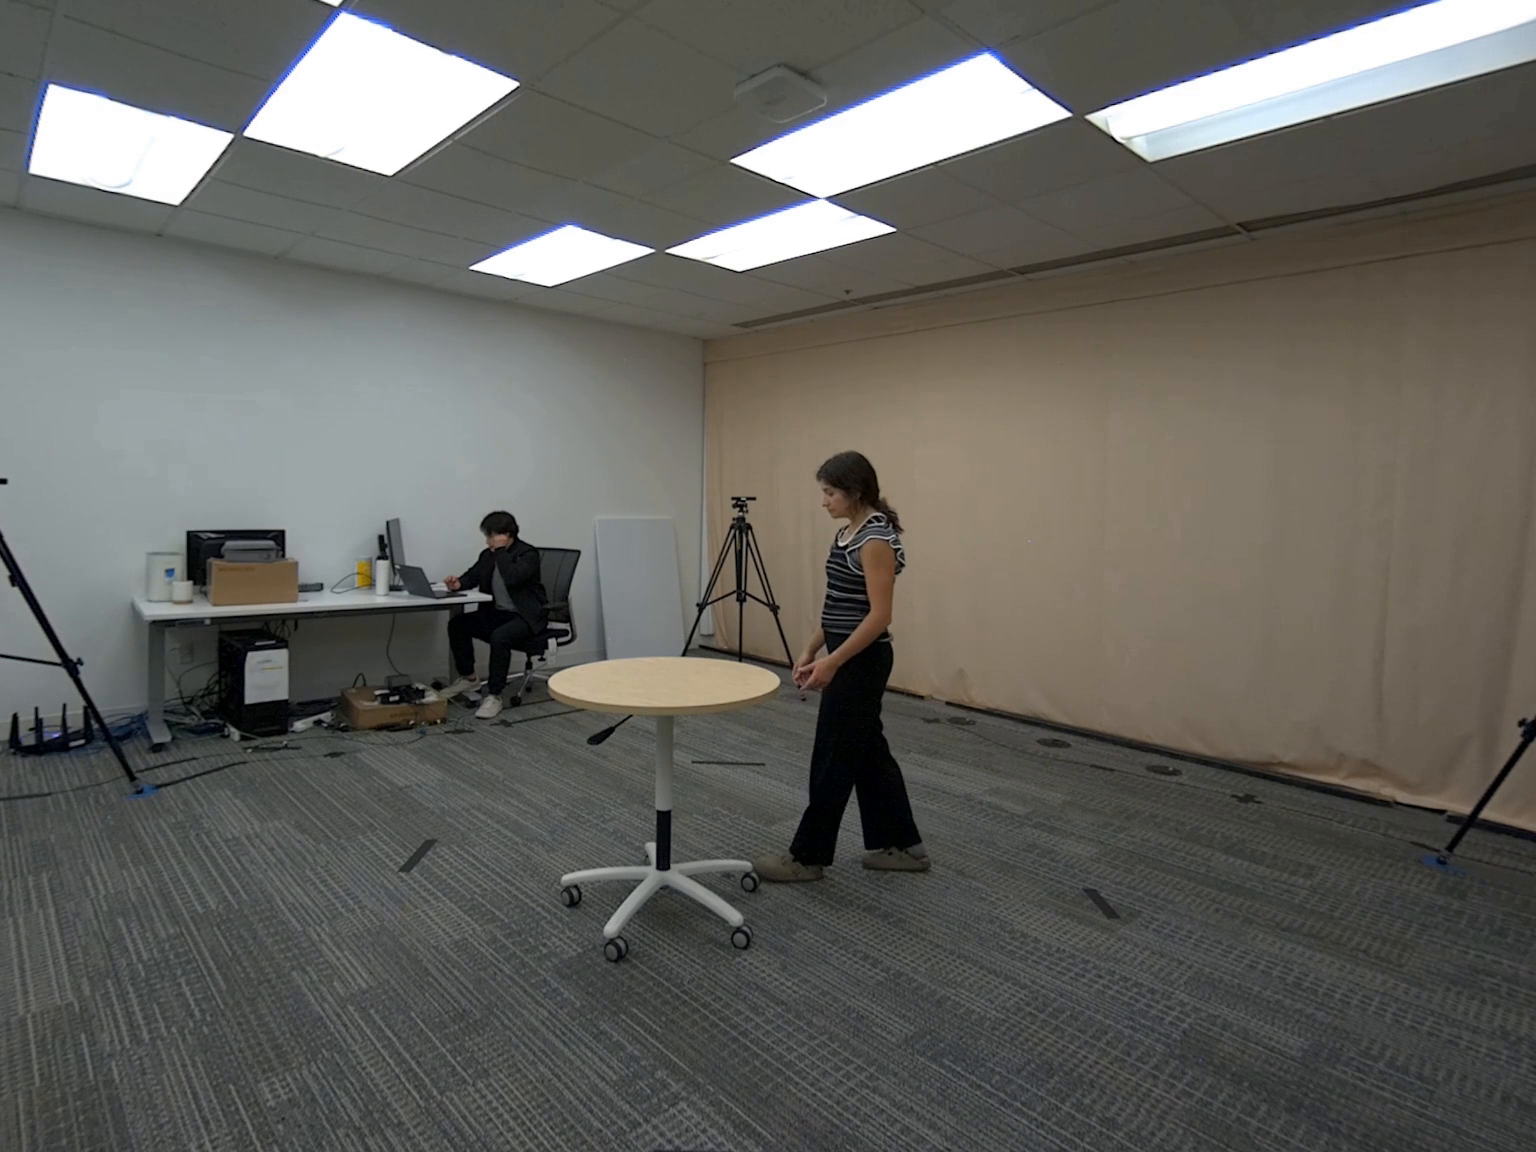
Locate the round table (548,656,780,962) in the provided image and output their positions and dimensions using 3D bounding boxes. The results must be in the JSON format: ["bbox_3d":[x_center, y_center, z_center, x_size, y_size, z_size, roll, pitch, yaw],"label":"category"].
[{"bbox_3d":[-0.349,0.733,2.831,0.784,0.784,0.788,1,5,-1],"label":"round table"}]
